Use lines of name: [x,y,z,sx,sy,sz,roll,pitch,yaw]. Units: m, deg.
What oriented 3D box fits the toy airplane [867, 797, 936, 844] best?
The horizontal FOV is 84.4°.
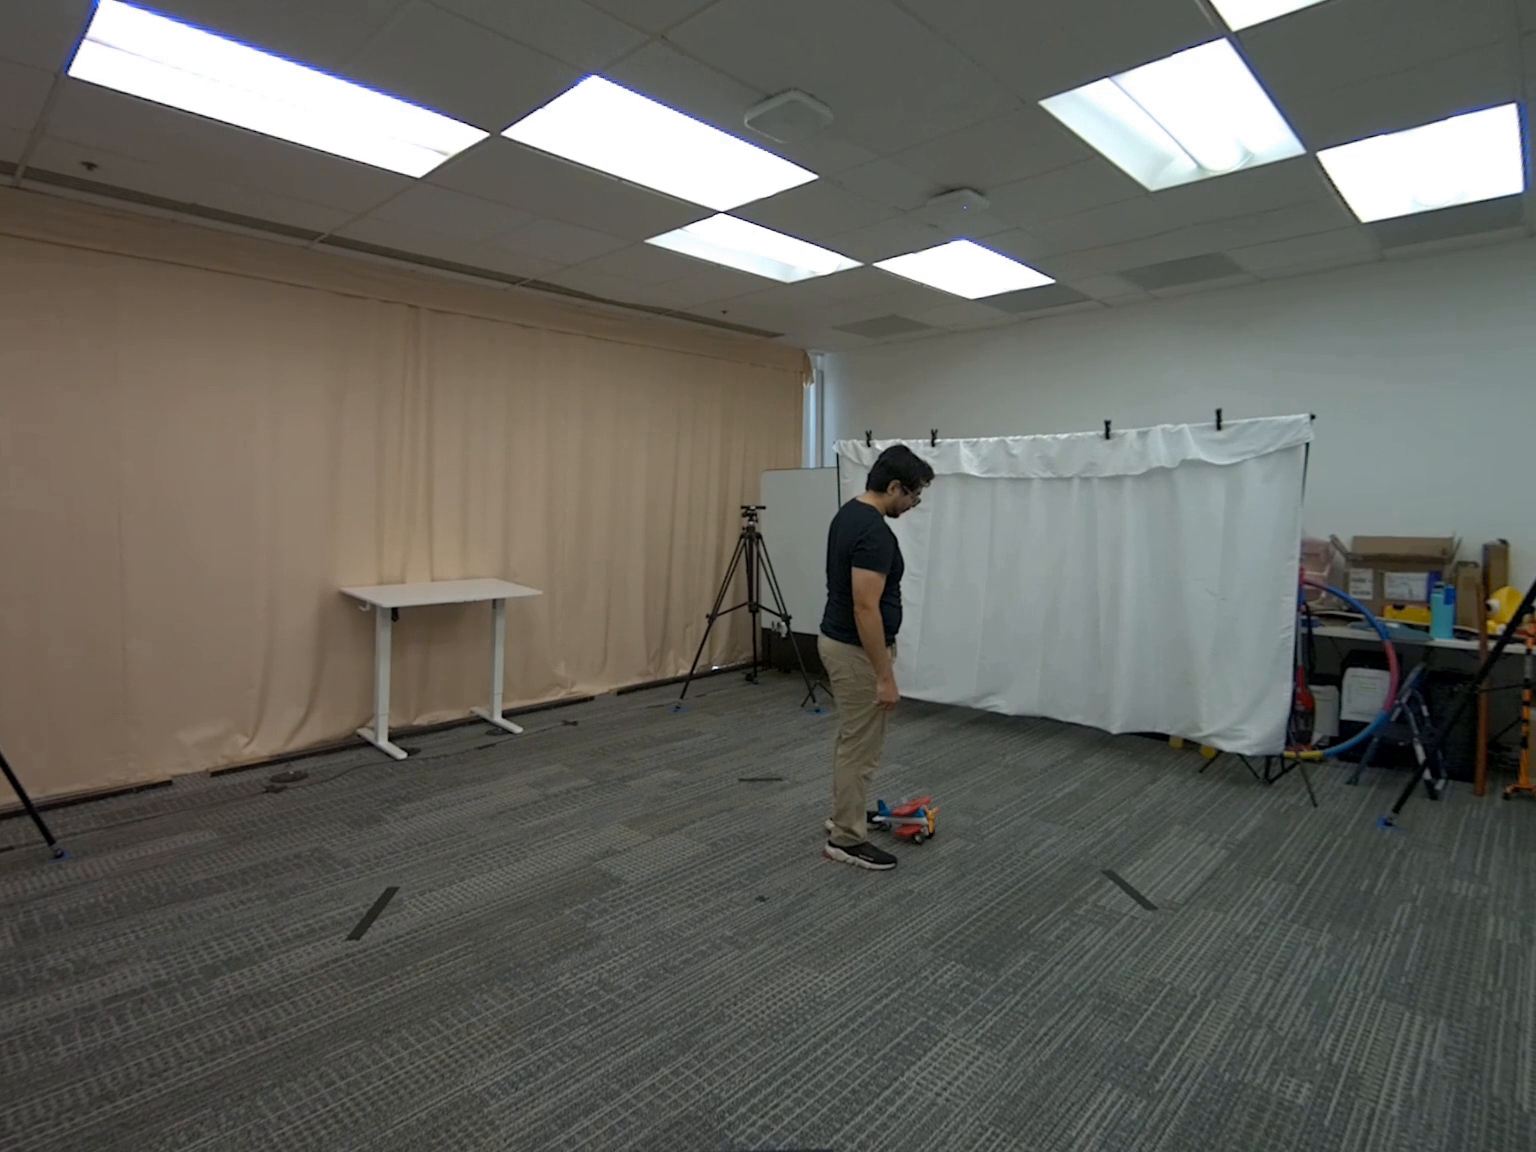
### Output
toy airplane: [0.573,1.023,3.530,0.262,0.156,0.248,2,4,10]
